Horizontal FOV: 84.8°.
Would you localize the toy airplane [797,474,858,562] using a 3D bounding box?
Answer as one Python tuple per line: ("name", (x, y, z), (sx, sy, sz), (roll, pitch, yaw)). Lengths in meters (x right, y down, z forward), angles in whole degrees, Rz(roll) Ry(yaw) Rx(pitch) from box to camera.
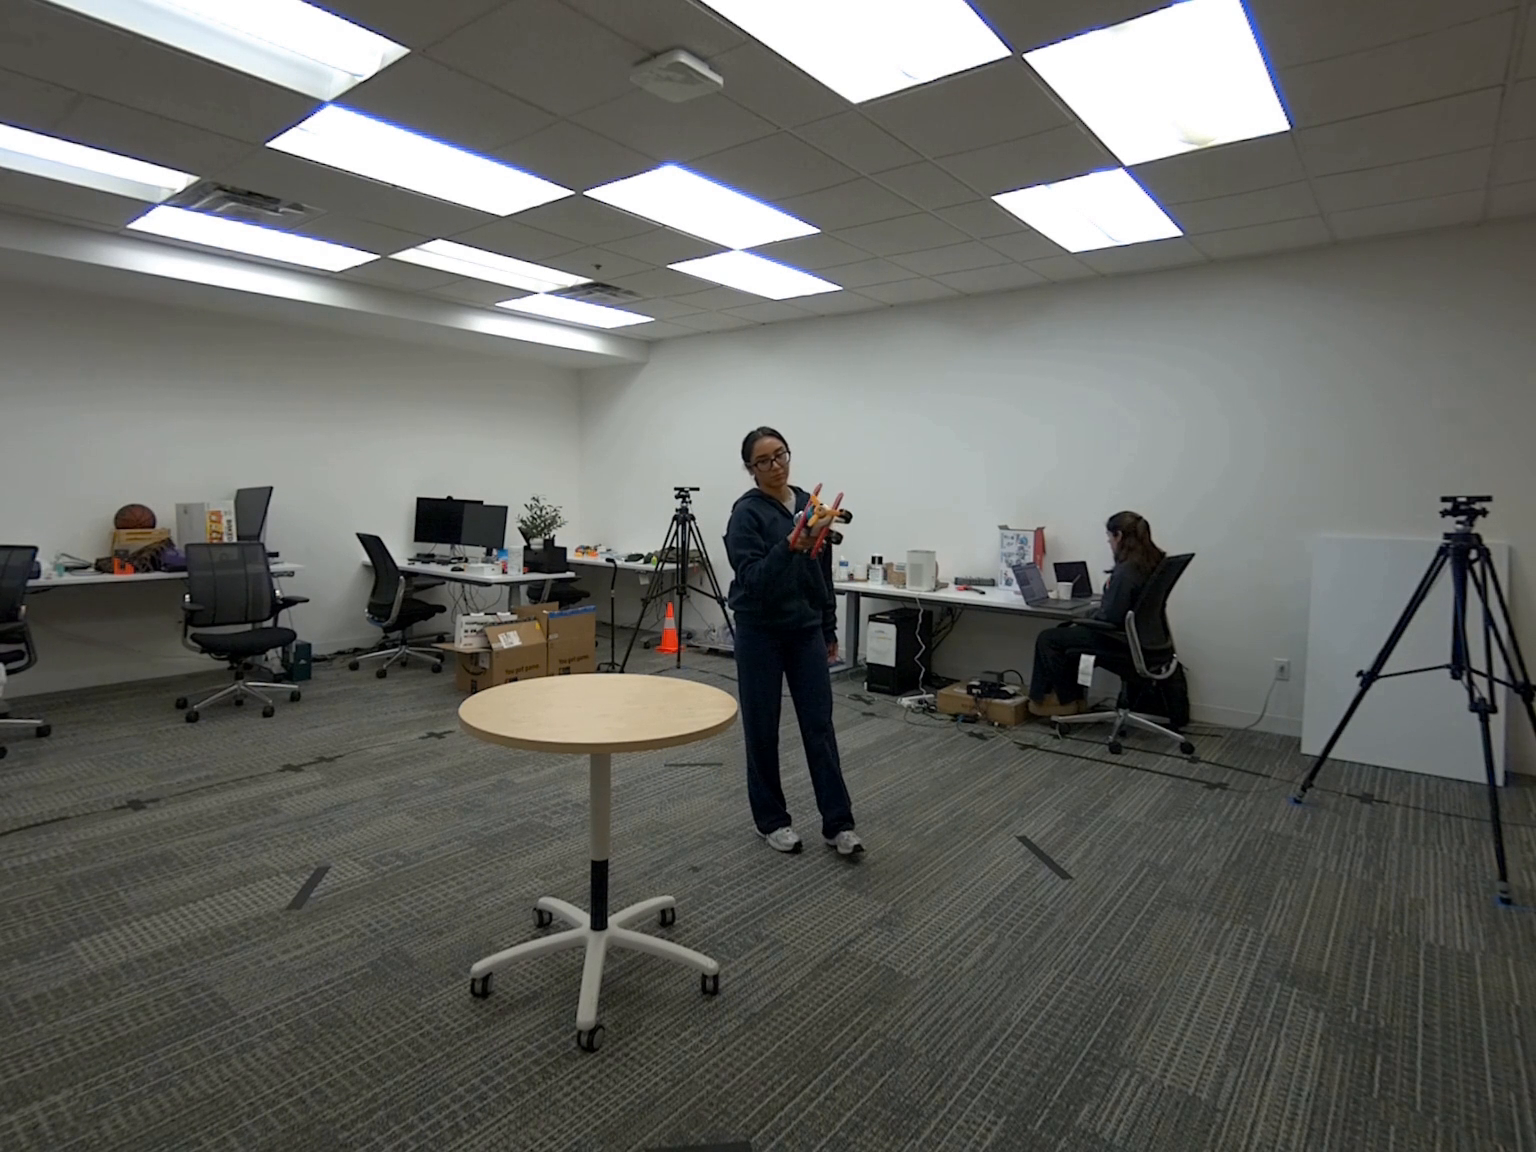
("toy airplane", (0.158, -0.158, 2.909), (0.155, 0.258, 0.255), (28, 42, -10))
